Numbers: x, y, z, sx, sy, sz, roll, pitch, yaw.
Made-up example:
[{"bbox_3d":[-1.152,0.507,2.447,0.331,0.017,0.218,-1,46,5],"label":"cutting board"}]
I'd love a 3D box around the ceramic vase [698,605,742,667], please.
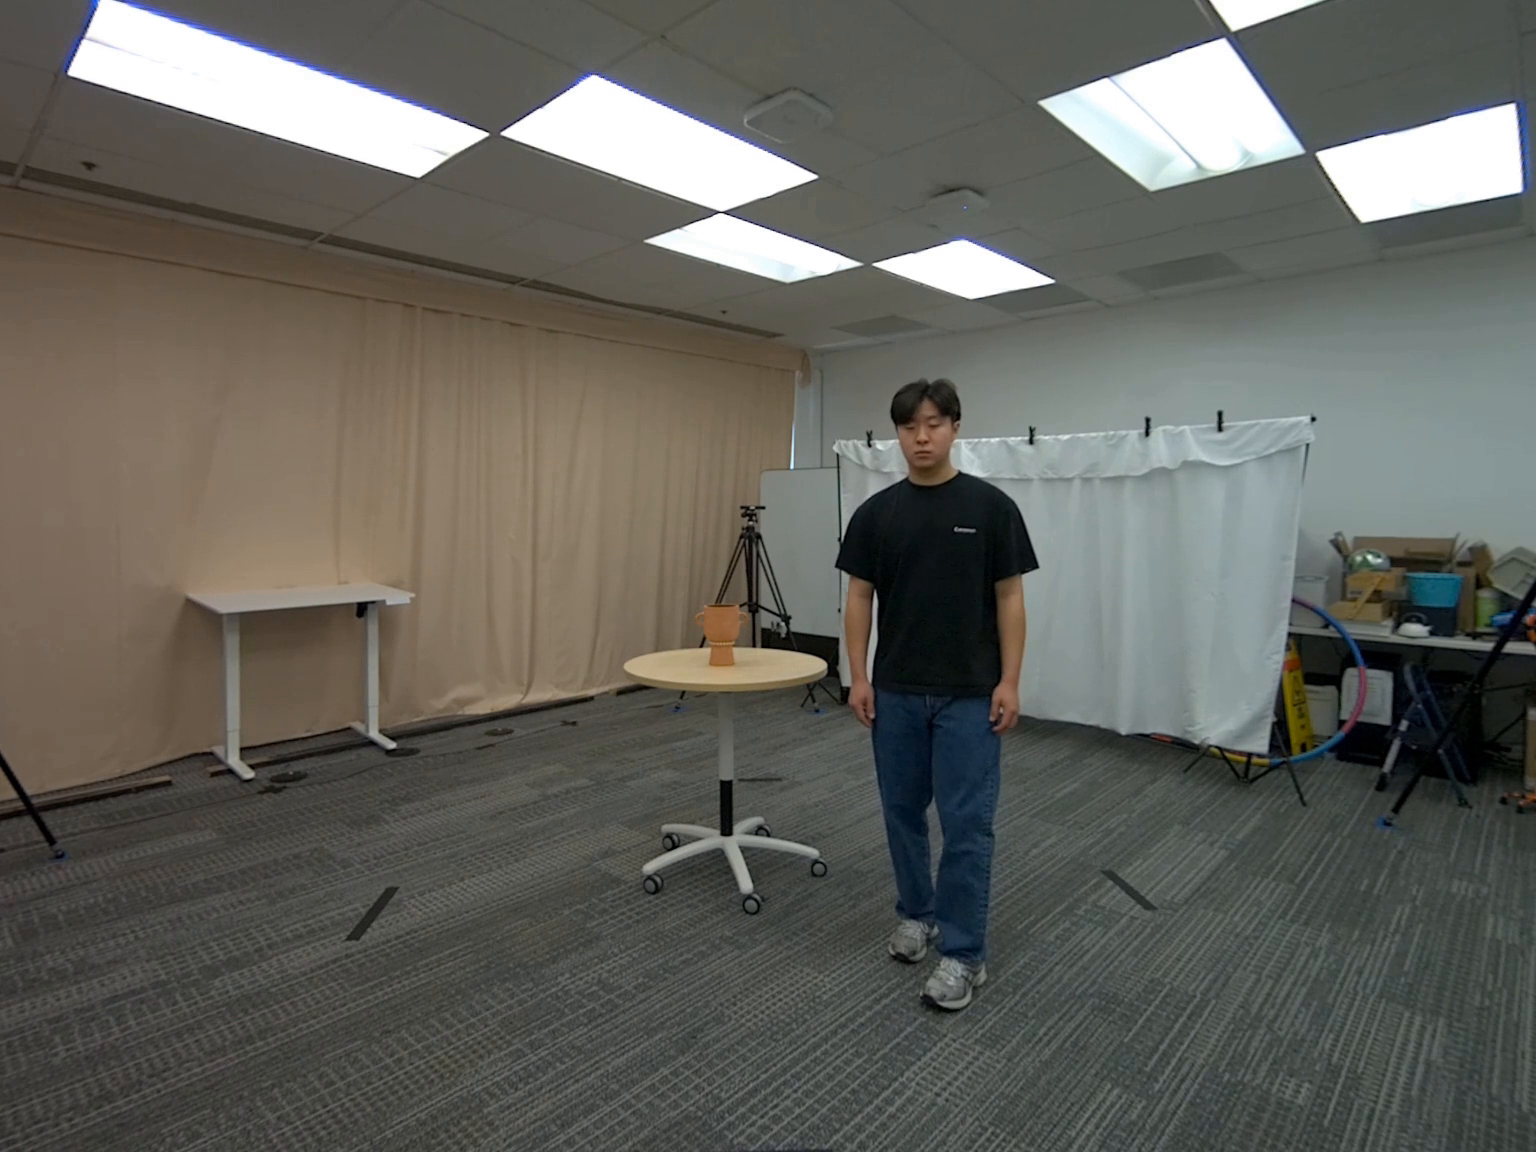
[{"bbox_3d":[-0.175,0.223,3.168,0.164,0.219,0.131,1,3,34],"label":"ceramic vase"}]
